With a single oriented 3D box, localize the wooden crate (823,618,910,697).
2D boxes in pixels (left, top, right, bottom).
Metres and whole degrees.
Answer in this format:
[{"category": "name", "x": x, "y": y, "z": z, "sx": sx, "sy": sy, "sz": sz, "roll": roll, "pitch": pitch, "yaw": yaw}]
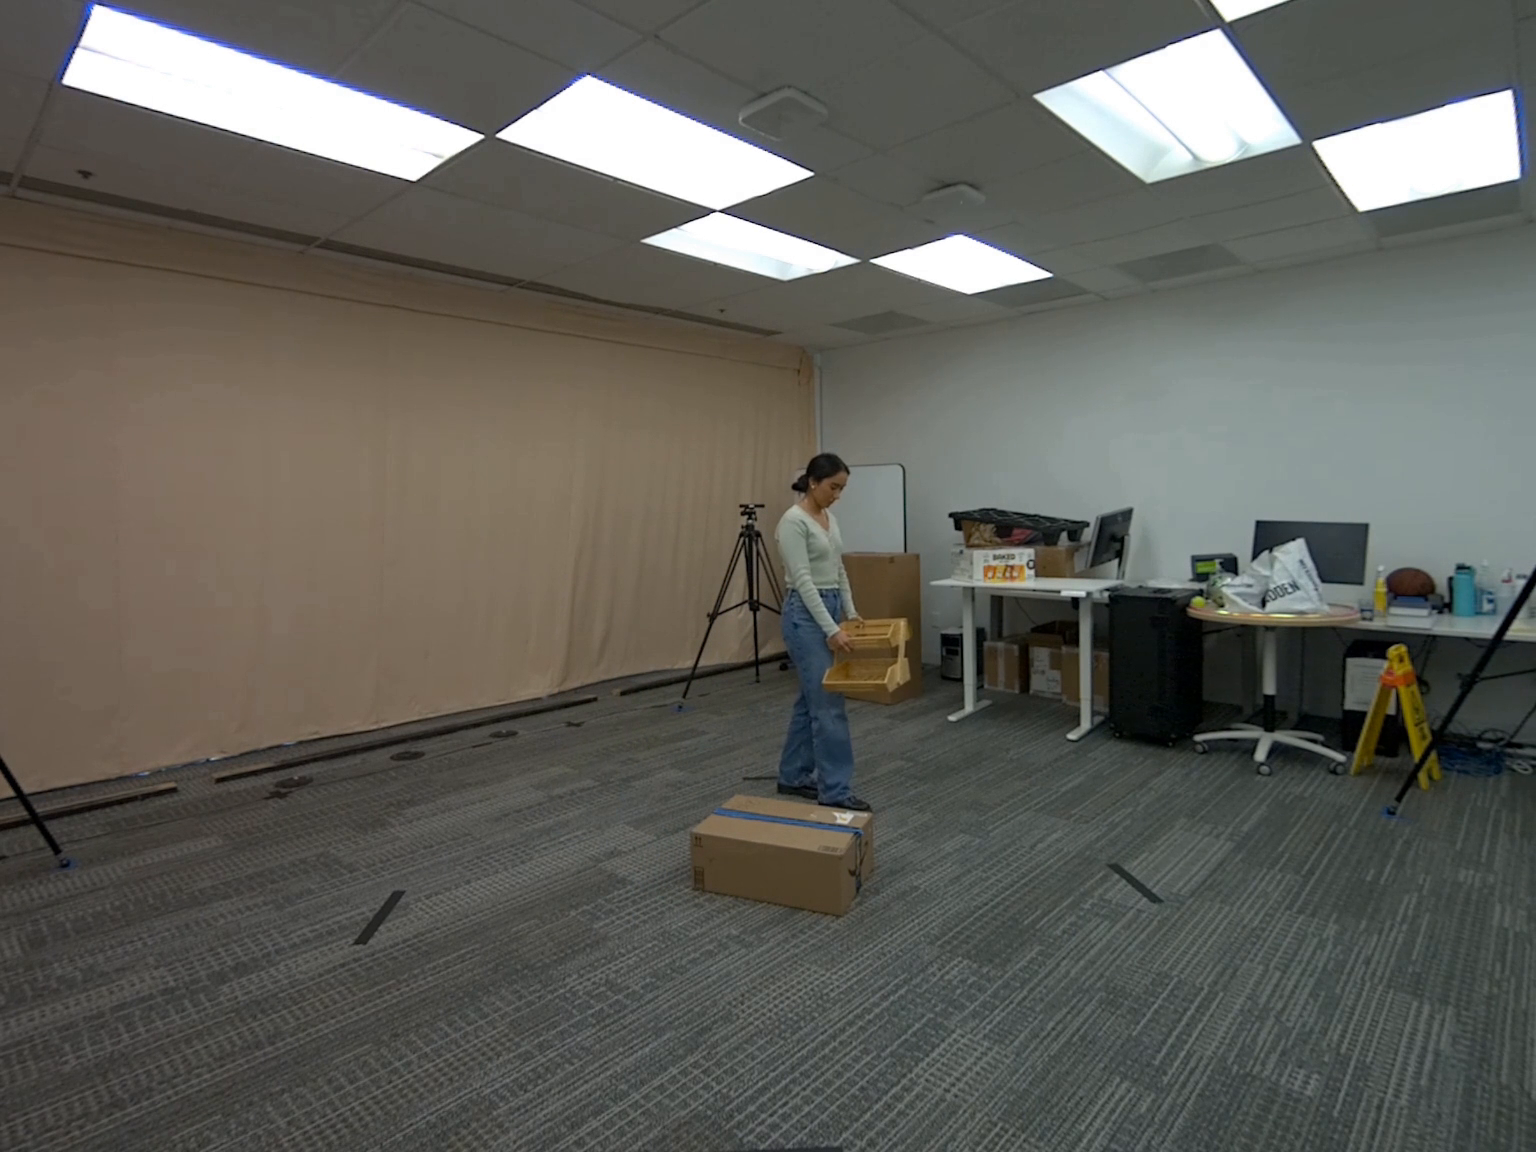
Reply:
[{"category": "wooden crate", "x": 0.433, "y": 0.345, "z": 3.677, "sx": 0.334, "sy": 0.272, "sz": 0.294, "roll": -5, "pitch": 5, "yaw": 34}]
